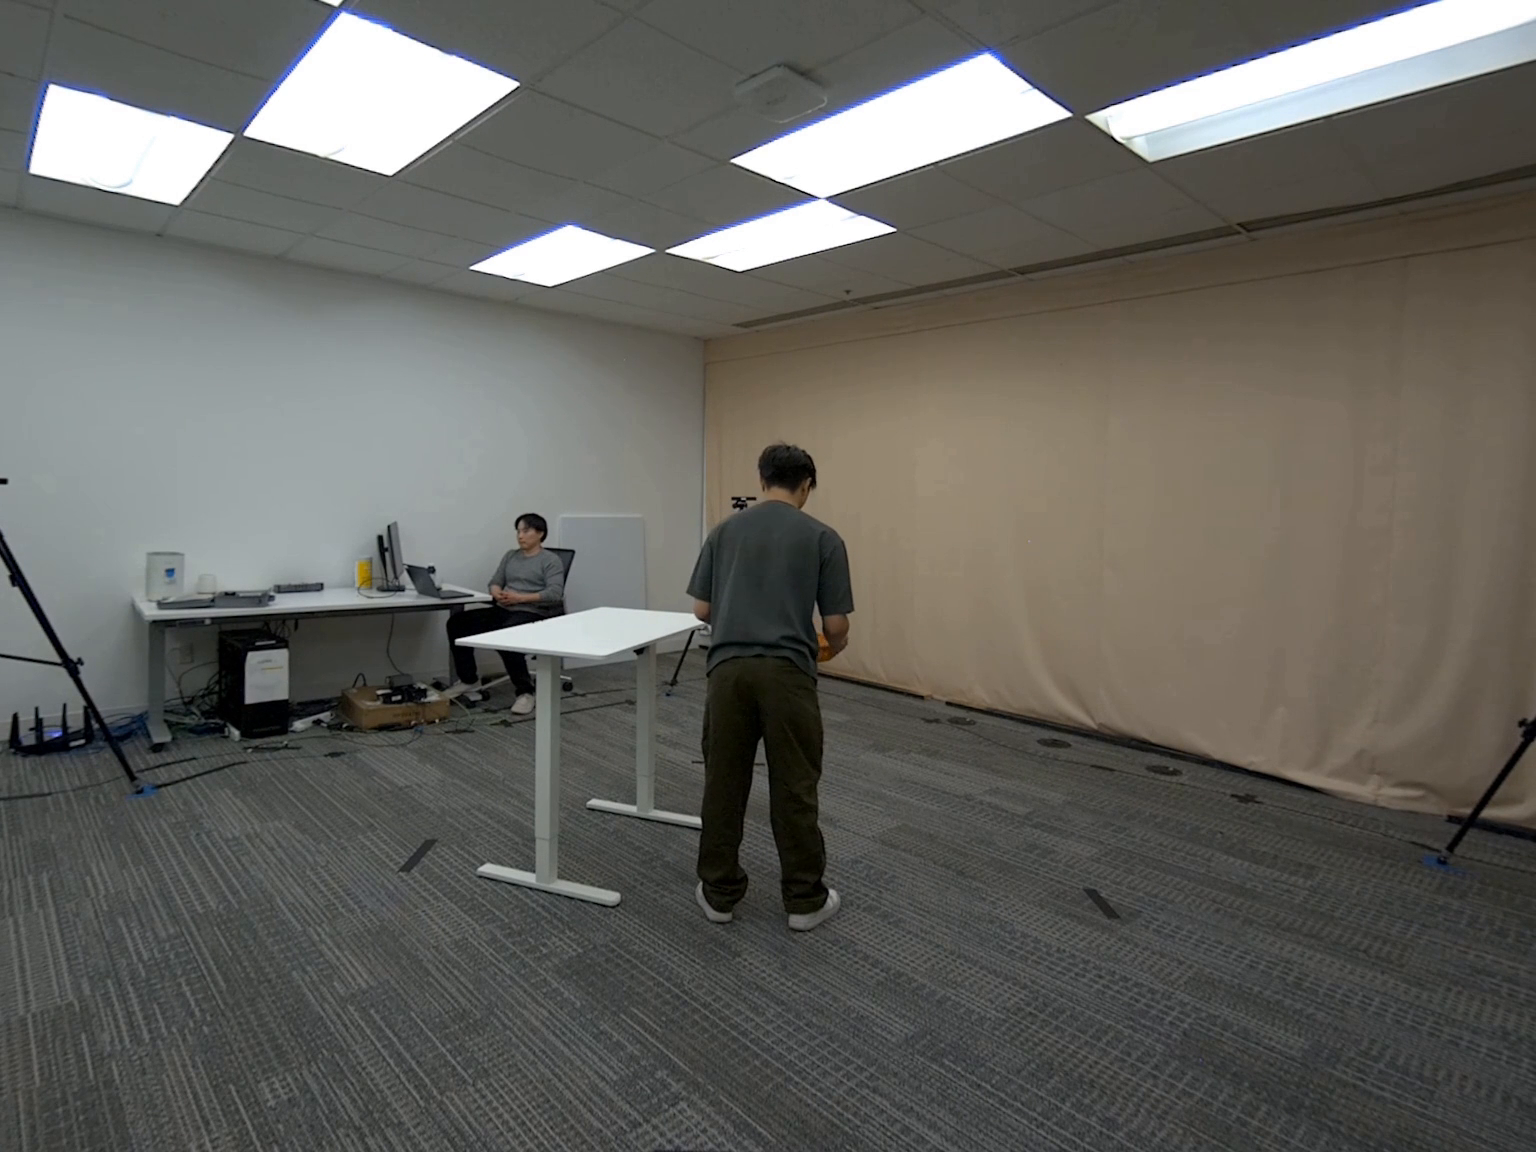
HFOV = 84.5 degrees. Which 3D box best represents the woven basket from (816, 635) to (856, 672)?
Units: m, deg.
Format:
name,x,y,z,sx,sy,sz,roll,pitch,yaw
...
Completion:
name,x,y,z,sx,sy,sz,roll,pitch,yaw
woven basket,0.118,0.269,3.145,0.357,0.073,0.249,6,7,22
